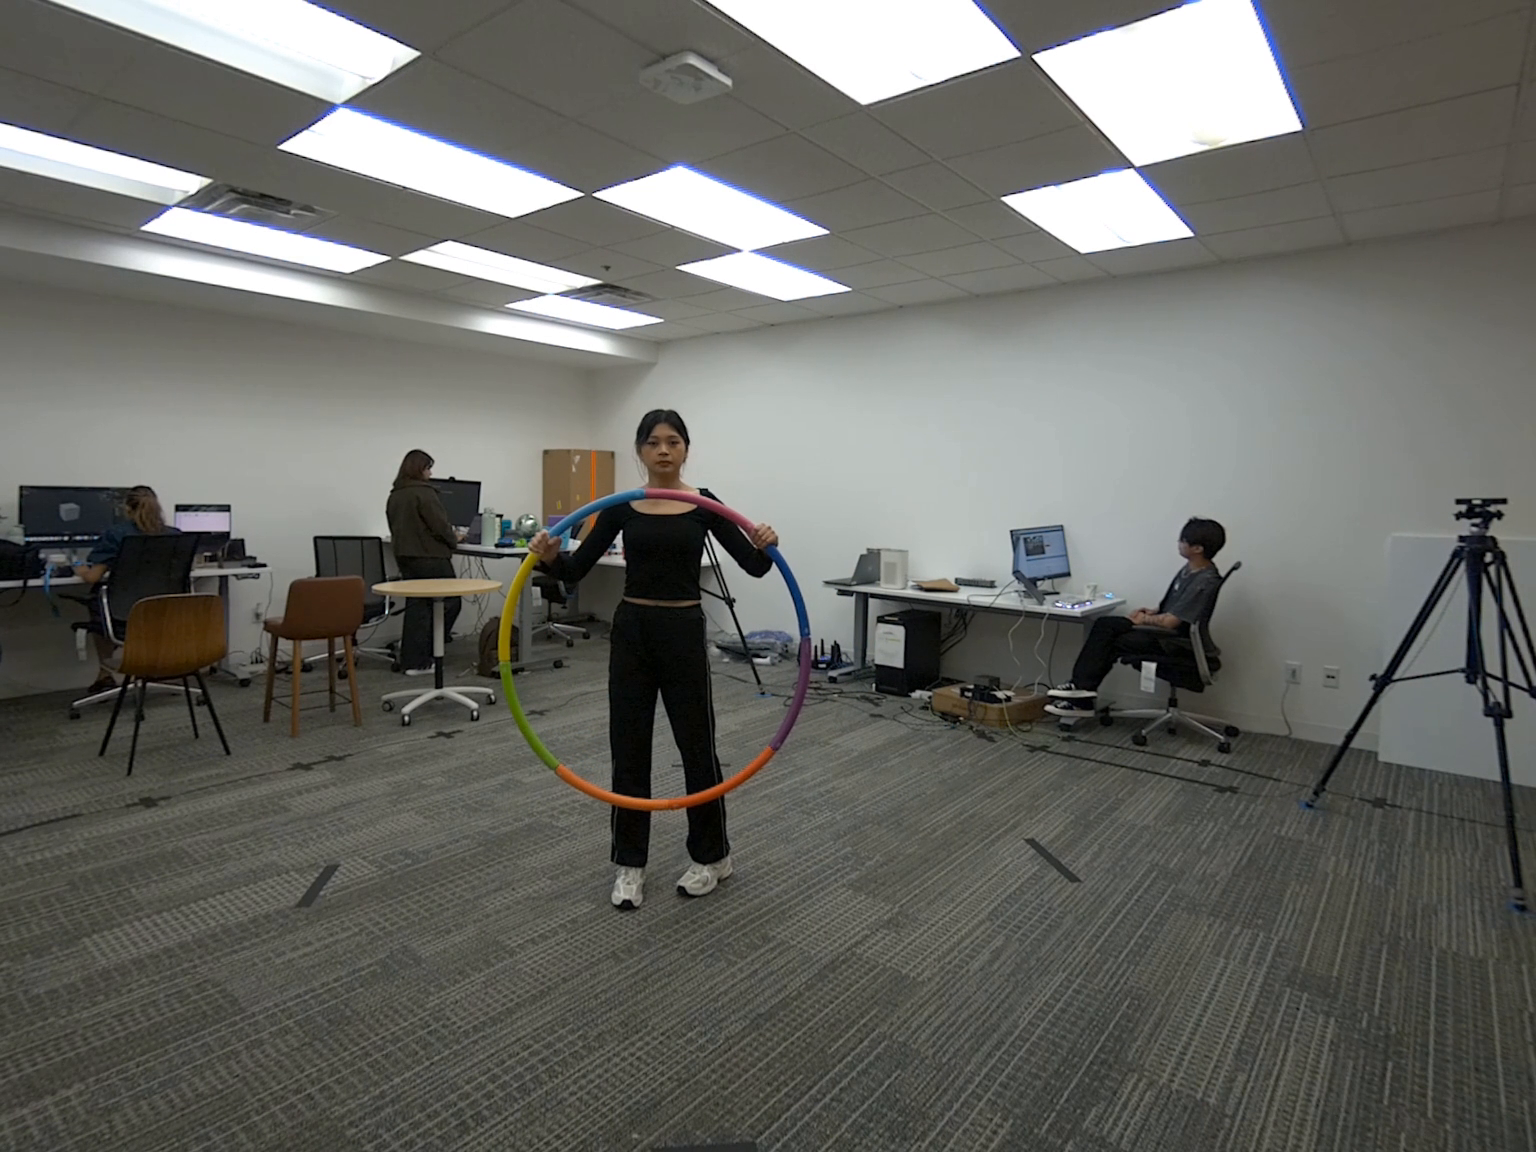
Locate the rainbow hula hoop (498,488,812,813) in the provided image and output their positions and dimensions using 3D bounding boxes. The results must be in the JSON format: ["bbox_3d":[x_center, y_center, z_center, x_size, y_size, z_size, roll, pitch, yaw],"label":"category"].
[{"bbox_3d":[-0.359,0.225,2.648,0.978,0.979,0.035,1,0,0],"label":"rainbow hula hoop"}]
